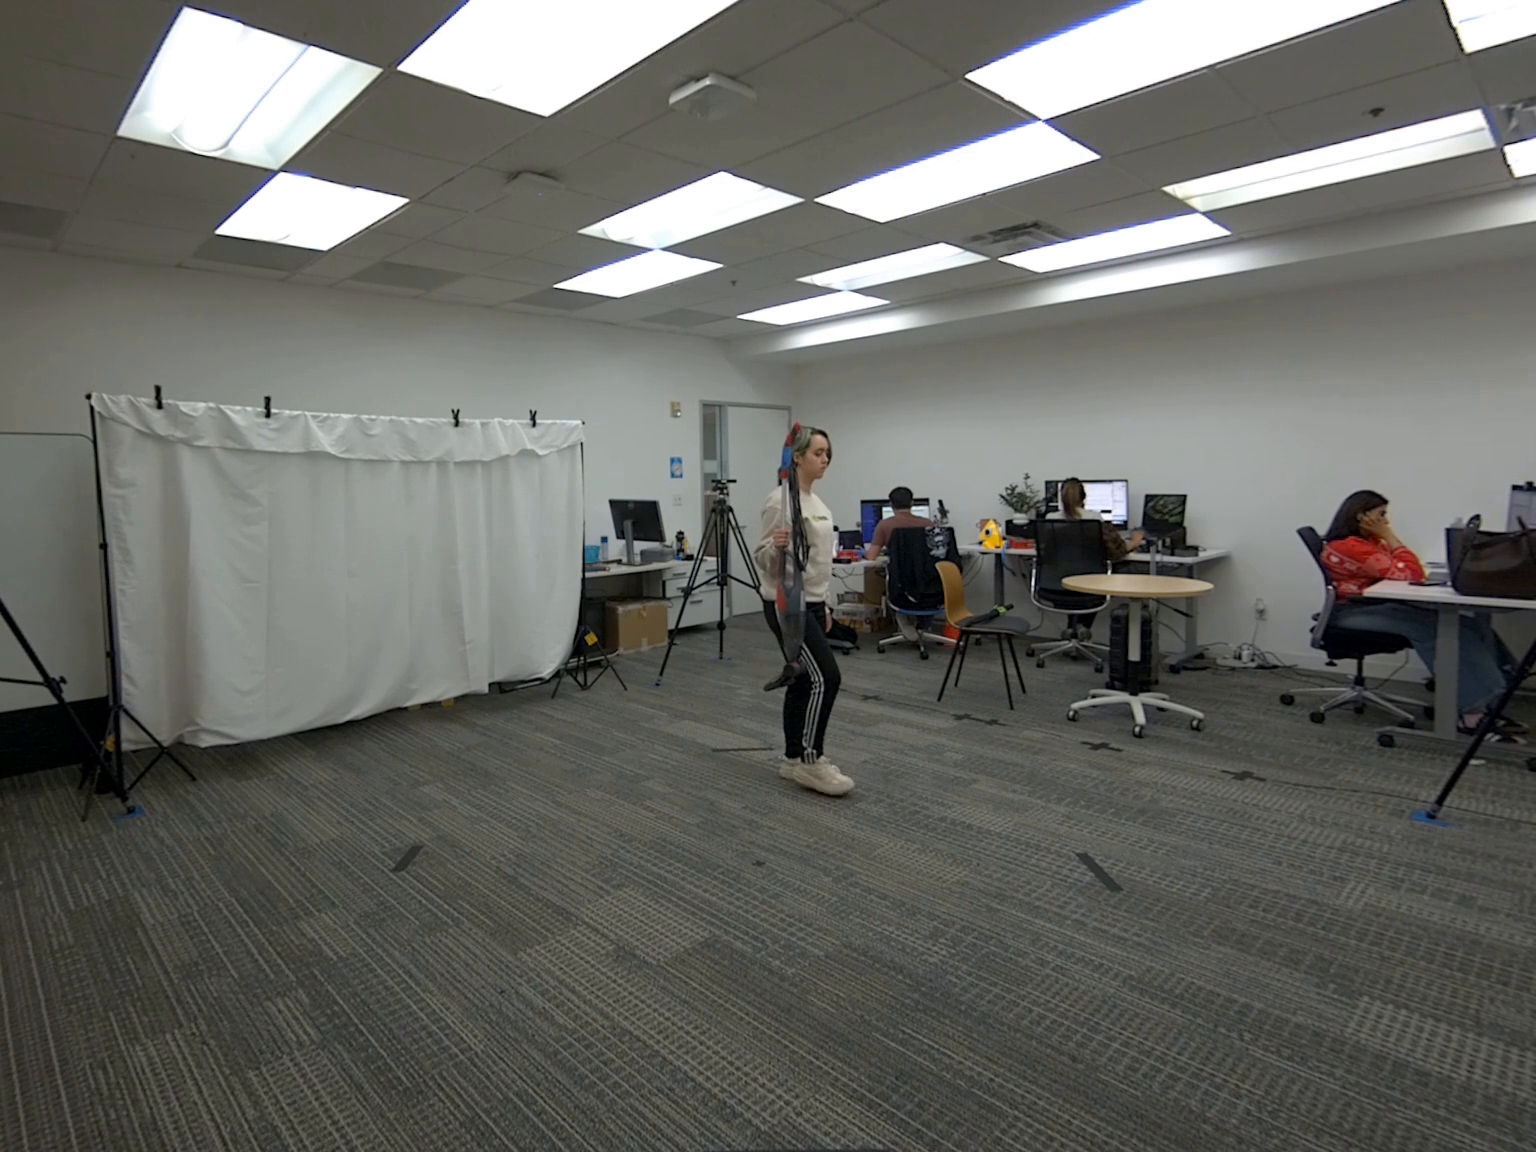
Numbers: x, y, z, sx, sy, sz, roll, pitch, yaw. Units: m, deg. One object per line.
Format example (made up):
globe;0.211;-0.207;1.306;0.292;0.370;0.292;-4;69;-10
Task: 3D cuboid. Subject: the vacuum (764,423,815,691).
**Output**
vacuum;0.099;-0.098;3.537;0.146;1.050;0.248;1;-1;18
